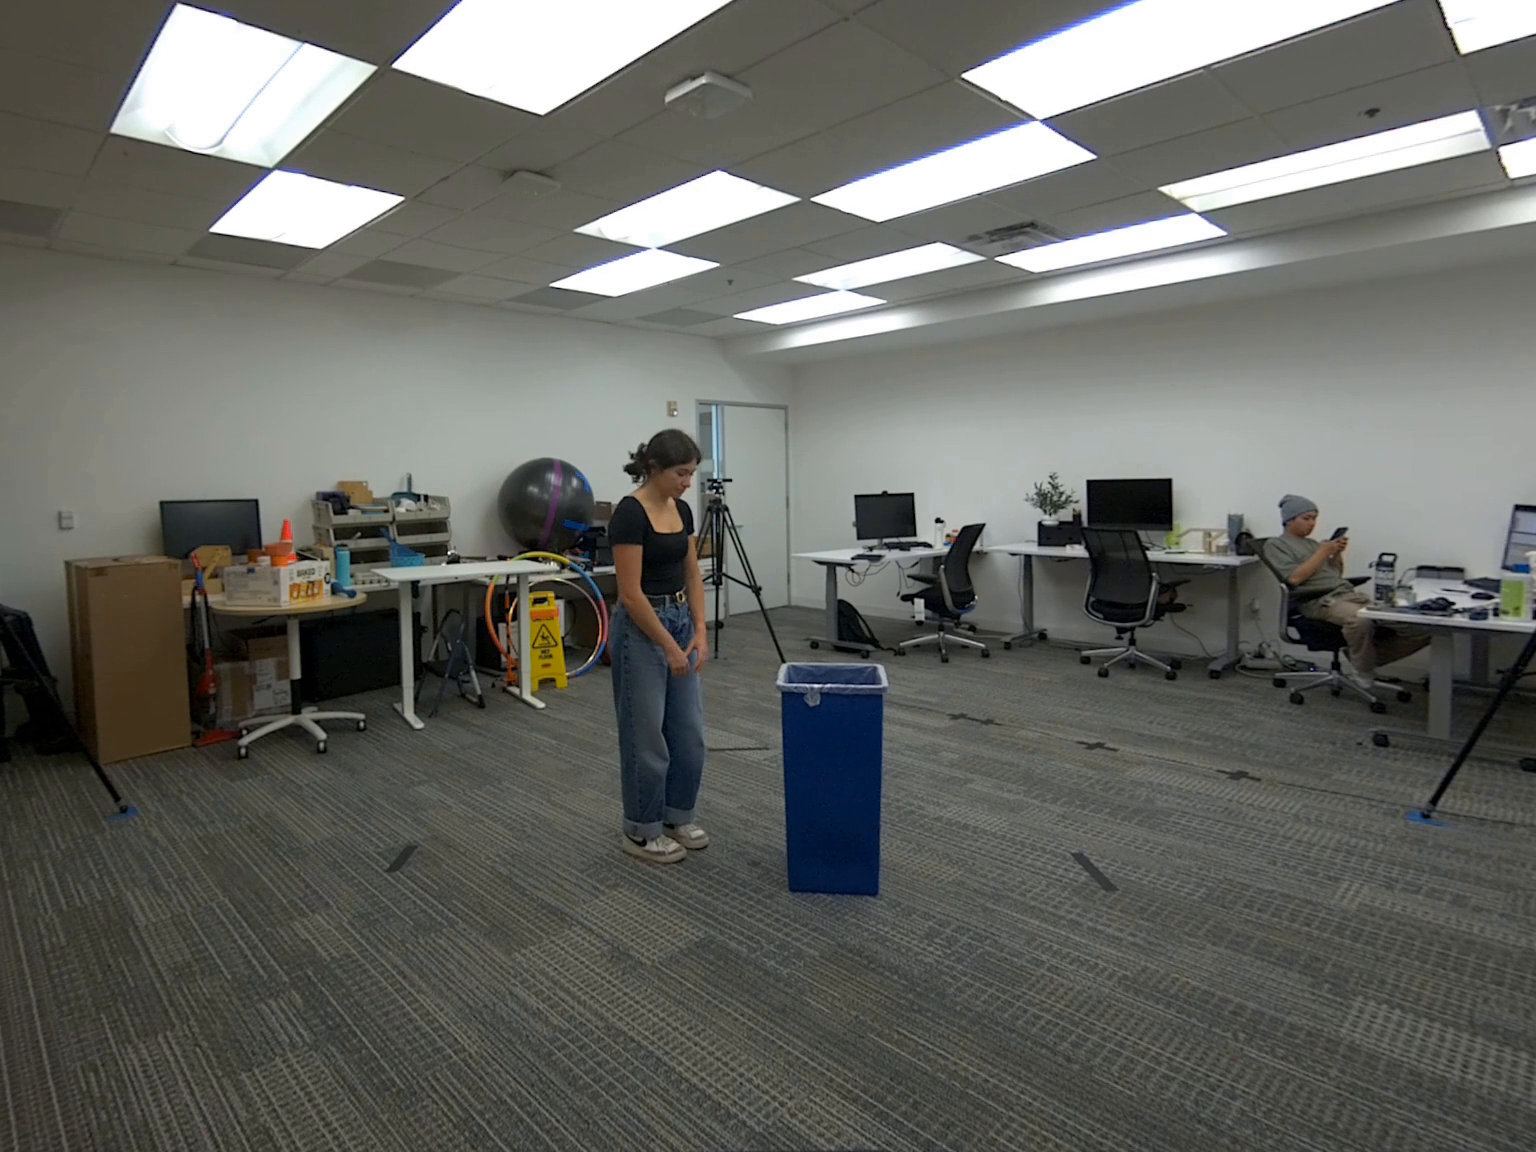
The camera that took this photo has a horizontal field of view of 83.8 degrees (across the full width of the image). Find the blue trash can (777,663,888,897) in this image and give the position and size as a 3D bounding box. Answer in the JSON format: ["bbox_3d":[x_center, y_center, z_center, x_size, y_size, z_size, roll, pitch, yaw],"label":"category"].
[{"bbox_3d":[0.231,0.699,2.999,0.381,0.711,0.373,1,4,7],"label":"blue trash can"}]
